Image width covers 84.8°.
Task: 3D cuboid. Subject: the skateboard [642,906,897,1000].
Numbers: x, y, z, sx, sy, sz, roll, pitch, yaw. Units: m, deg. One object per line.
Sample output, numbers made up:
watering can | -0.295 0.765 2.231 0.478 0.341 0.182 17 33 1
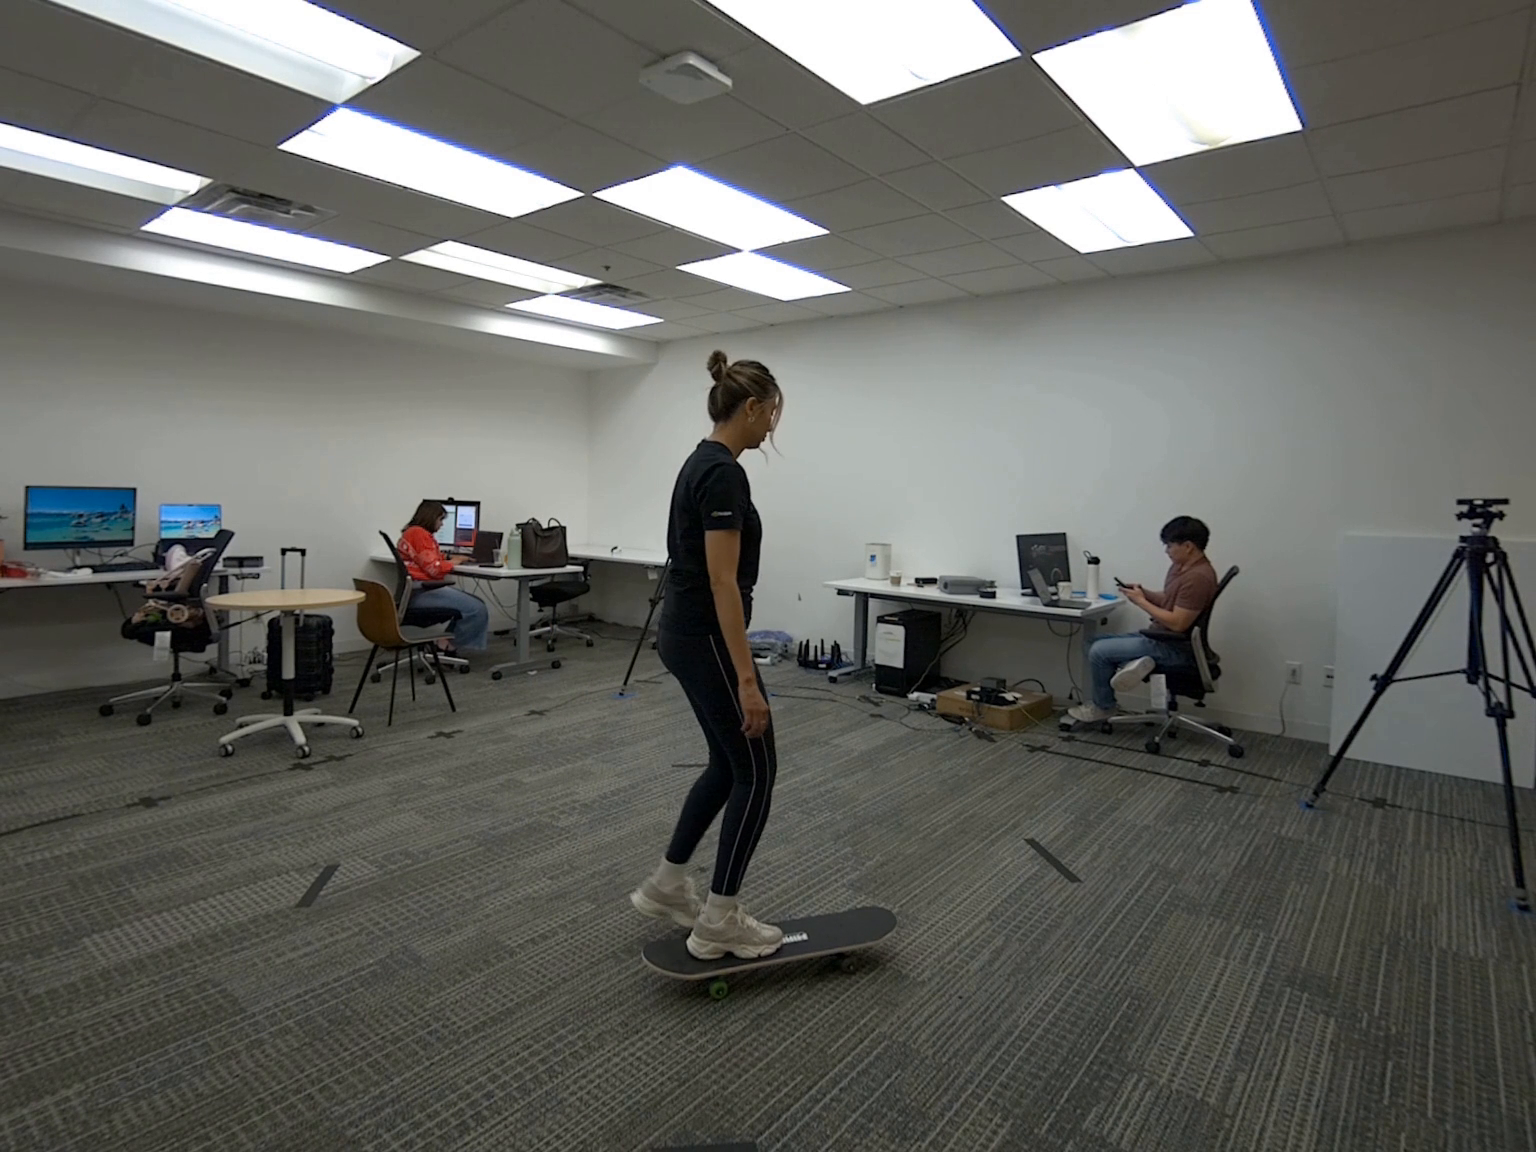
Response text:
skateboard | 0.018 1.089 2.461 0.770 0.110 0.198 -1 6 -19
